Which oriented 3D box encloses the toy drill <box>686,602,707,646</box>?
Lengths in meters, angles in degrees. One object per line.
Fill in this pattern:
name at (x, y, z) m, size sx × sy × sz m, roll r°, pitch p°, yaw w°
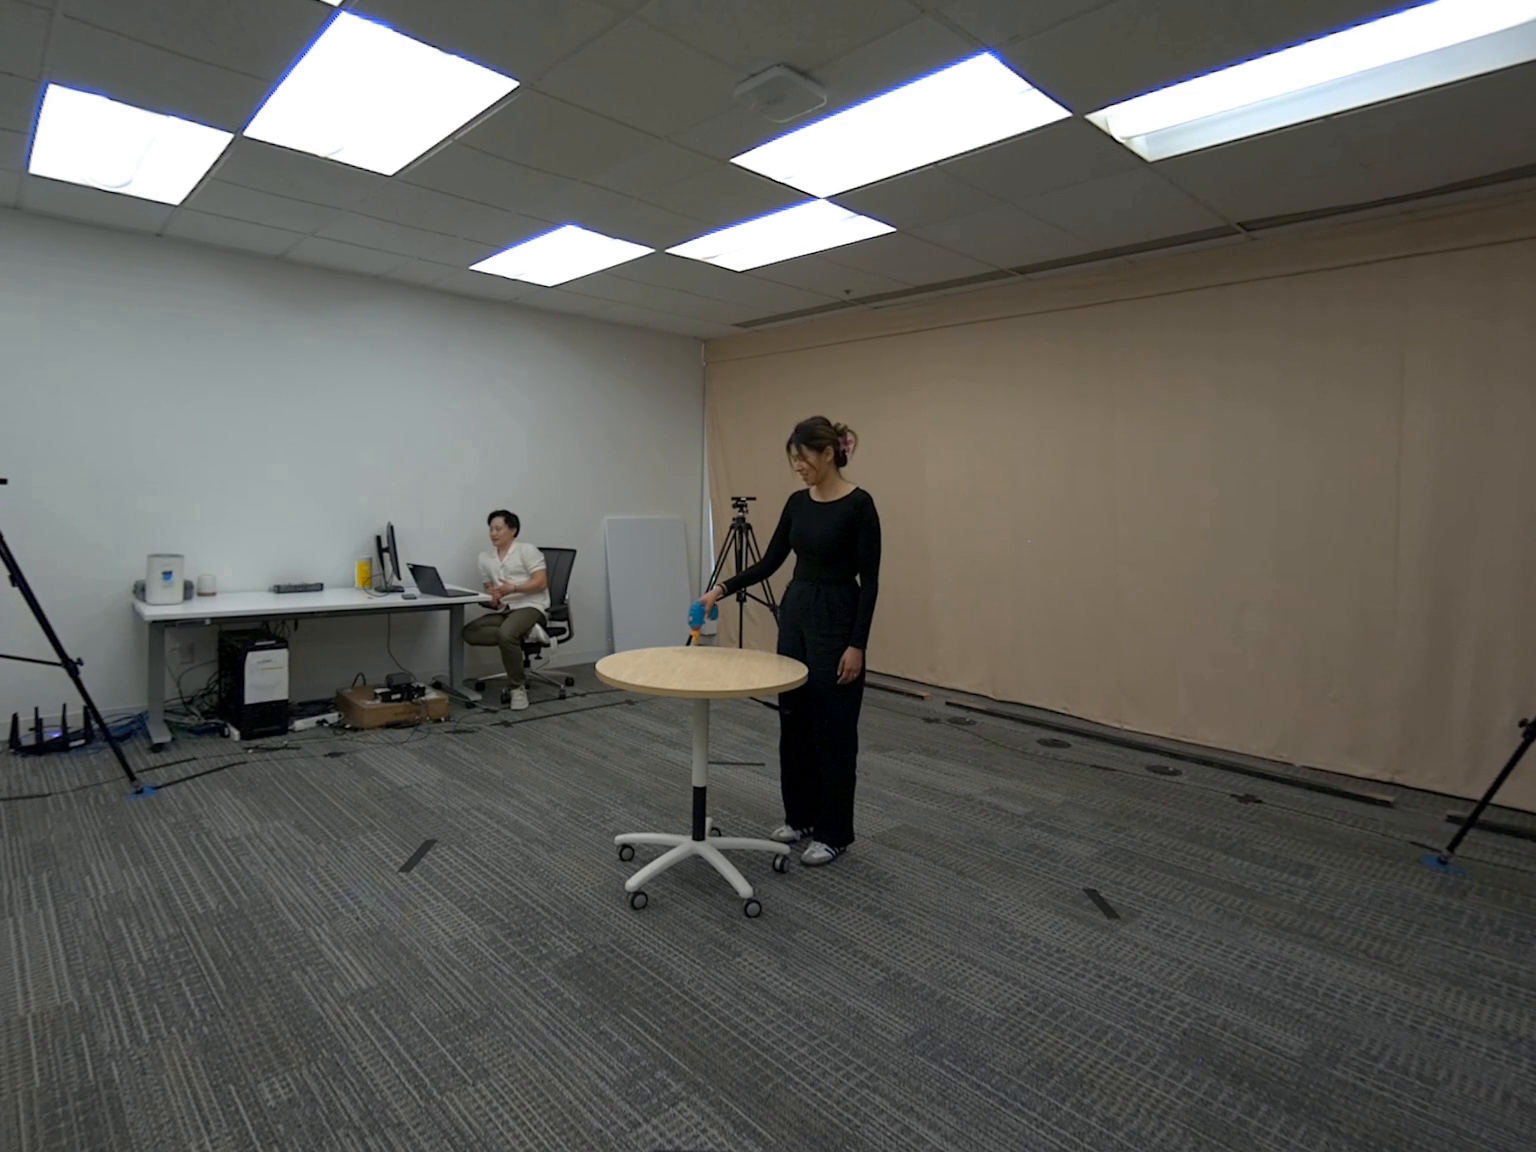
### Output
toy drill at (-0.259, 0.183, 3.337) m, size 0.062 × 0.170 × 0.143 m, roll 1°, pitch 2°, yaw 37°
